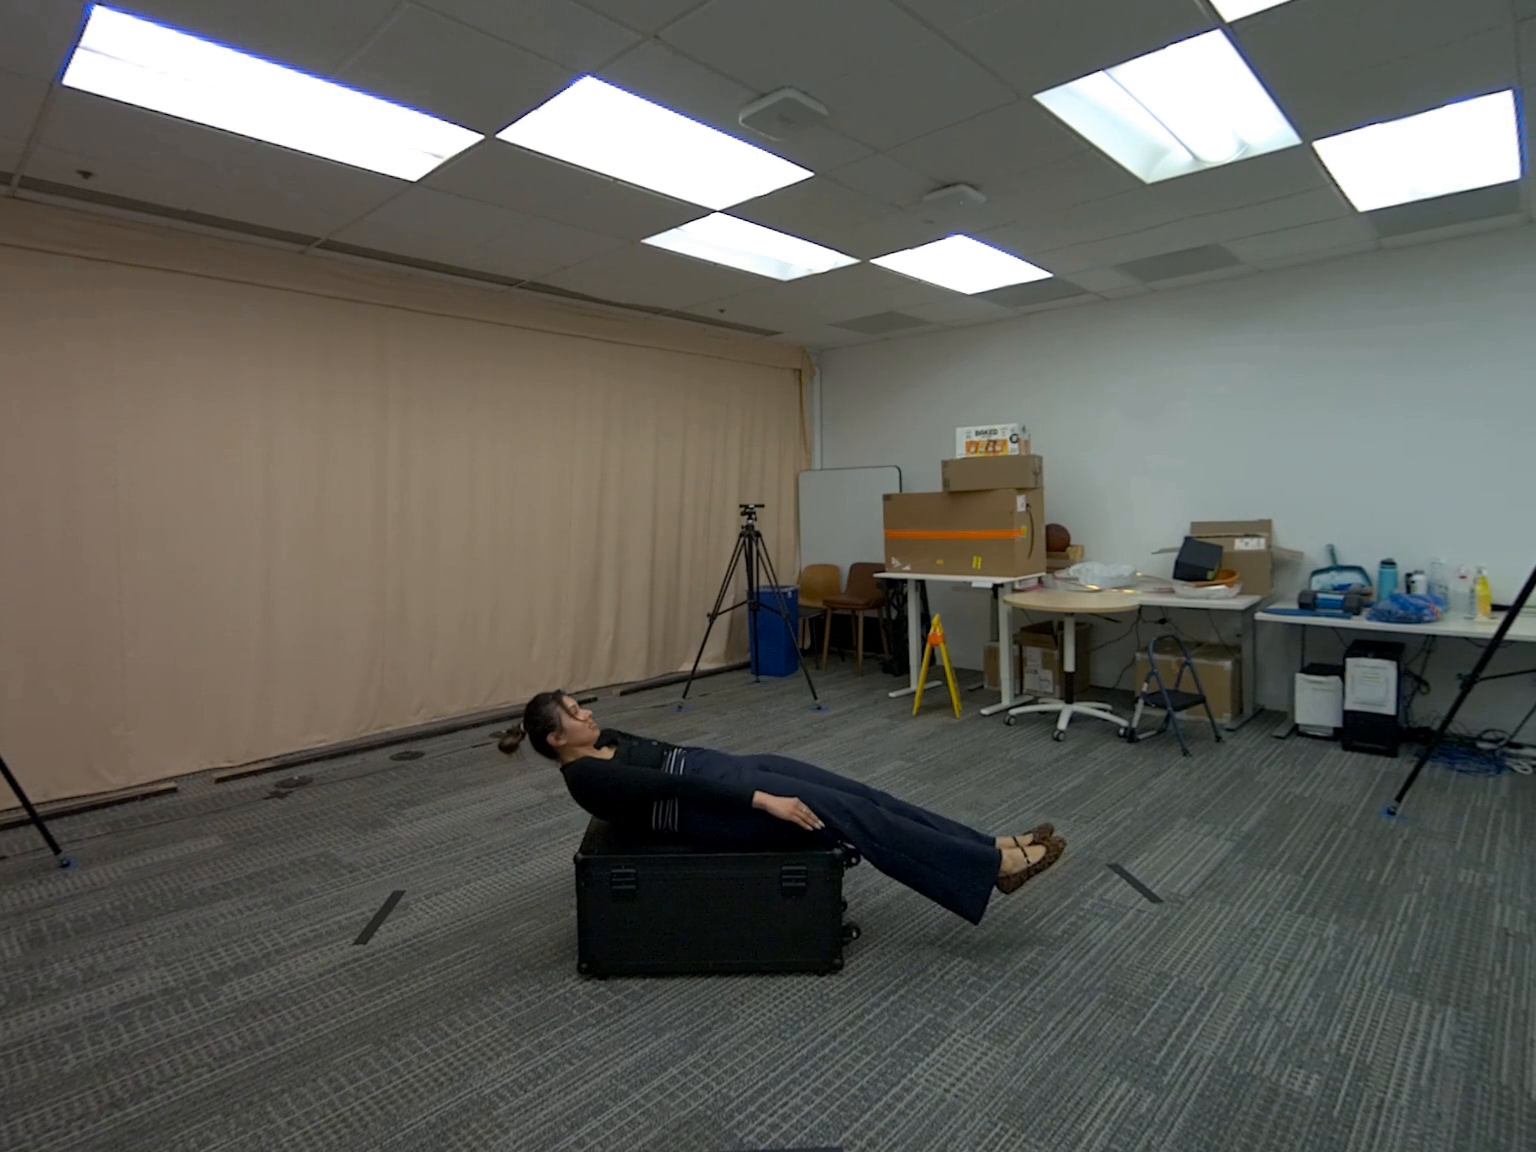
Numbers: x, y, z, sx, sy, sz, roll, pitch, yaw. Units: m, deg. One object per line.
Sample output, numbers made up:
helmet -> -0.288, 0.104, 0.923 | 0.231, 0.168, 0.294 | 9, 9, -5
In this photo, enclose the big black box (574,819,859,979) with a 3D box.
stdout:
big black box -> -0.150, 0.972, 2.698 | 0.860, 0.395, 0.523 | -2, 3, -2
